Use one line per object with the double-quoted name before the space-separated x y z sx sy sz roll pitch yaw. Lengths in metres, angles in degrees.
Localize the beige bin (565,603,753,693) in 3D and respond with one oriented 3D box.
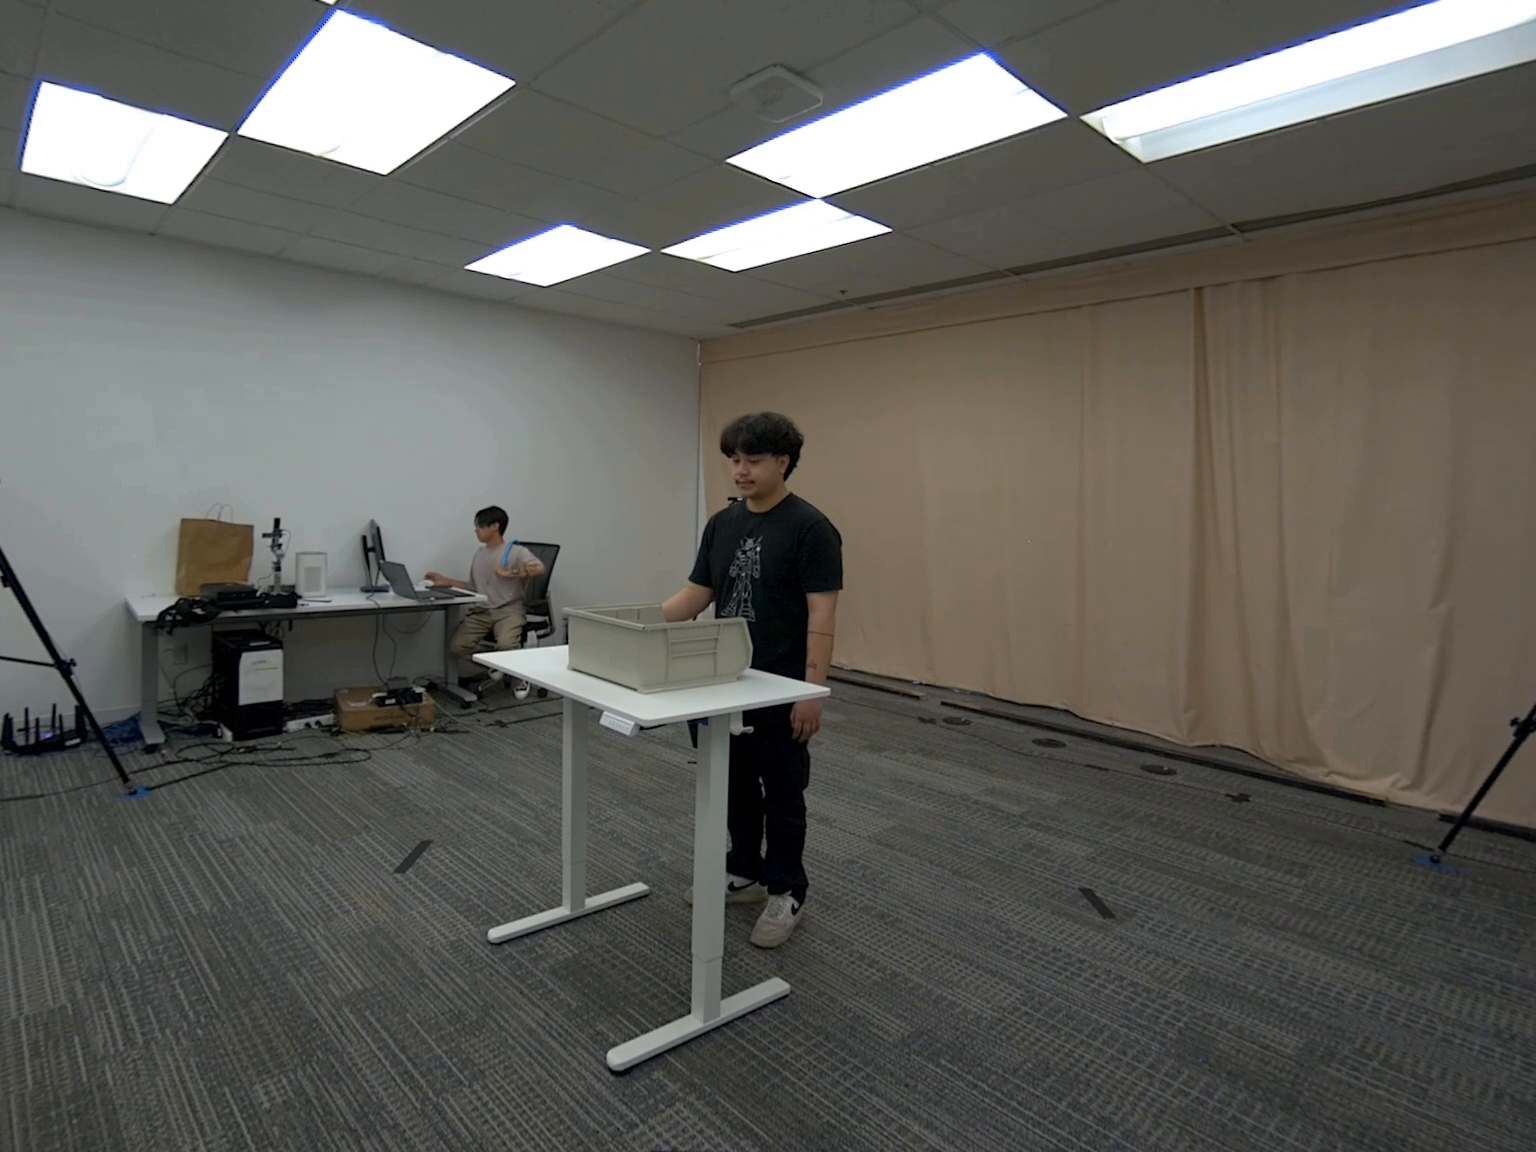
"beige bin" -0.327 0.200 2.406 0.369 0.188 0.433 -3 6 -40
